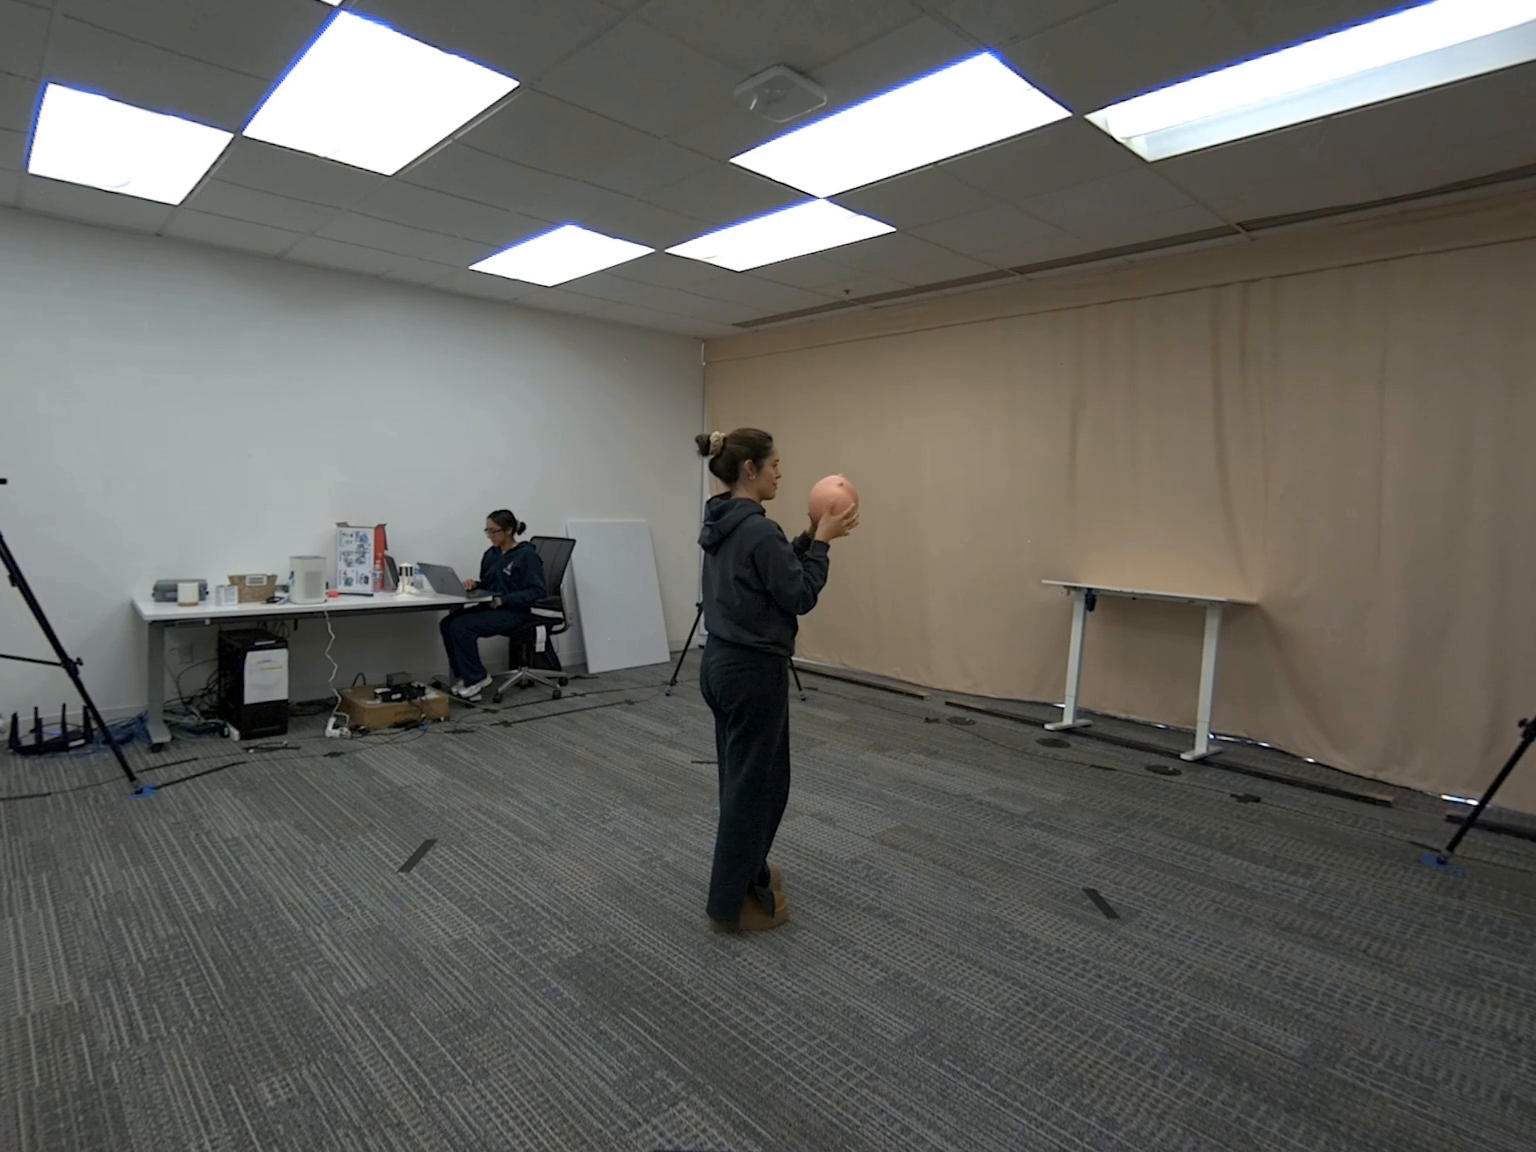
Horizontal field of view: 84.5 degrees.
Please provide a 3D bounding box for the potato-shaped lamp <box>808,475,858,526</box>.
[{"bbox_3d":[0.209,-0.232,2.797,0.165,0.170,0.200,22,27,-1],"label":"potato-shaped lamp"}]
